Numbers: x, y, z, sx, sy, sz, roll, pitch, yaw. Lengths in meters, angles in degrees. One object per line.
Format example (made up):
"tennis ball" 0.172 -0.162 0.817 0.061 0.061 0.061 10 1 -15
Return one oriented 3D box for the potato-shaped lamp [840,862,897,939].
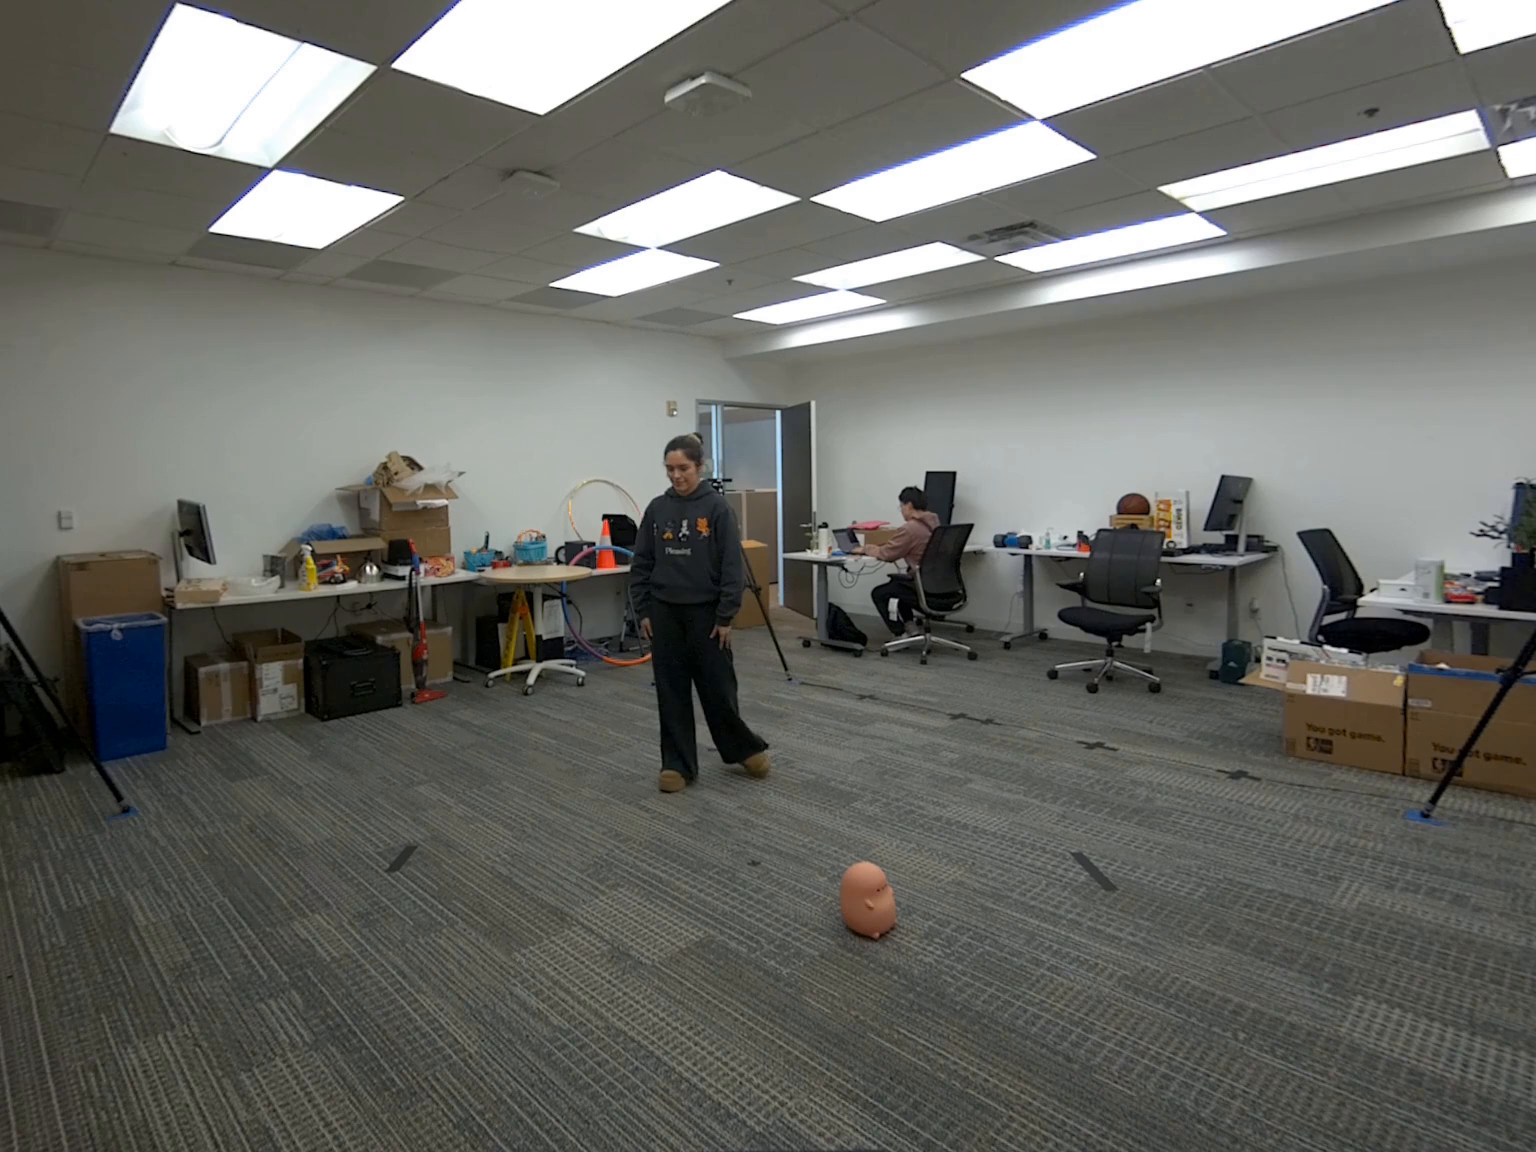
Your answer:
"potato-shaped lamp" 0.311 0.994 2.634 0.160 0.197 0.177 -7 8 -40
